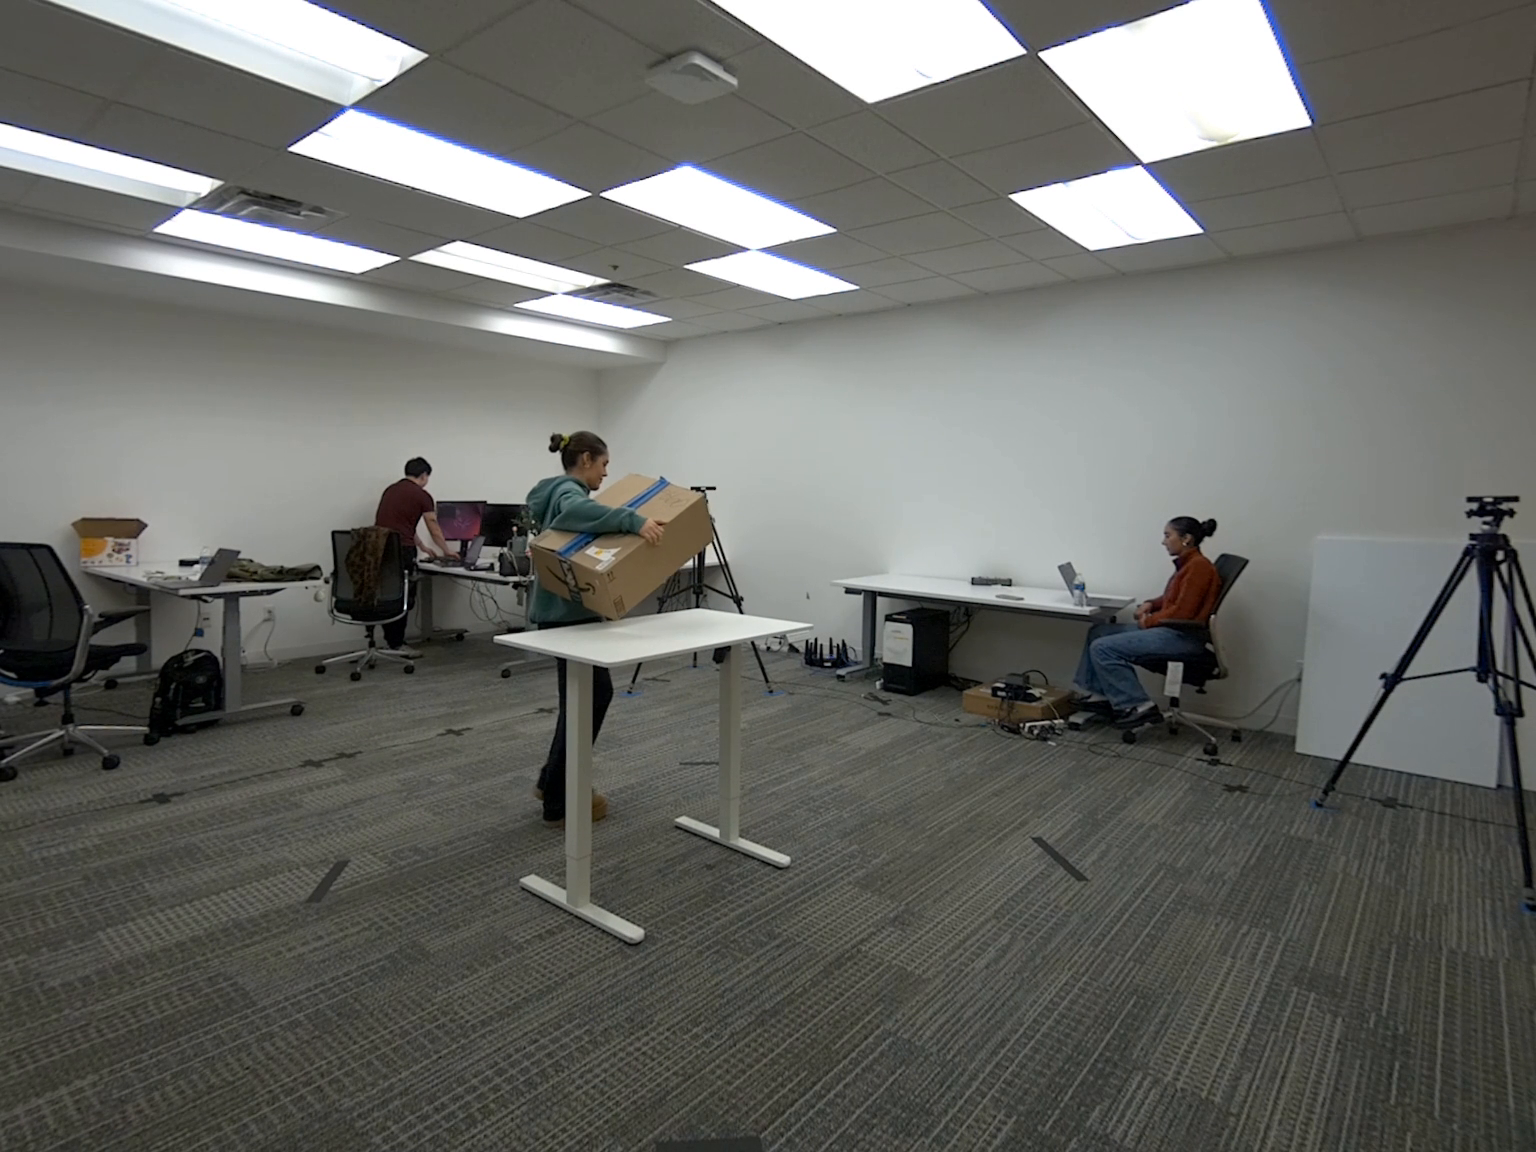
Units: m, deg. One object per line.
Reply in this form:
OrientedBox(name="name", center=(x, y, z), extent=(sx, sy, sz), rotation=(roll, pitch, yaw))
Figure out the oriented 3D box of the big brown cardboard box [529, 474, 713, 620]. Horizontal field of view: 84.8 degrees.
OrientedBox(name="big brown cardboard box", center=(-0.572, -0.132, 3.256), extent=(0.433, 0.226, 0.585), rotation=(18, 44, 34))
